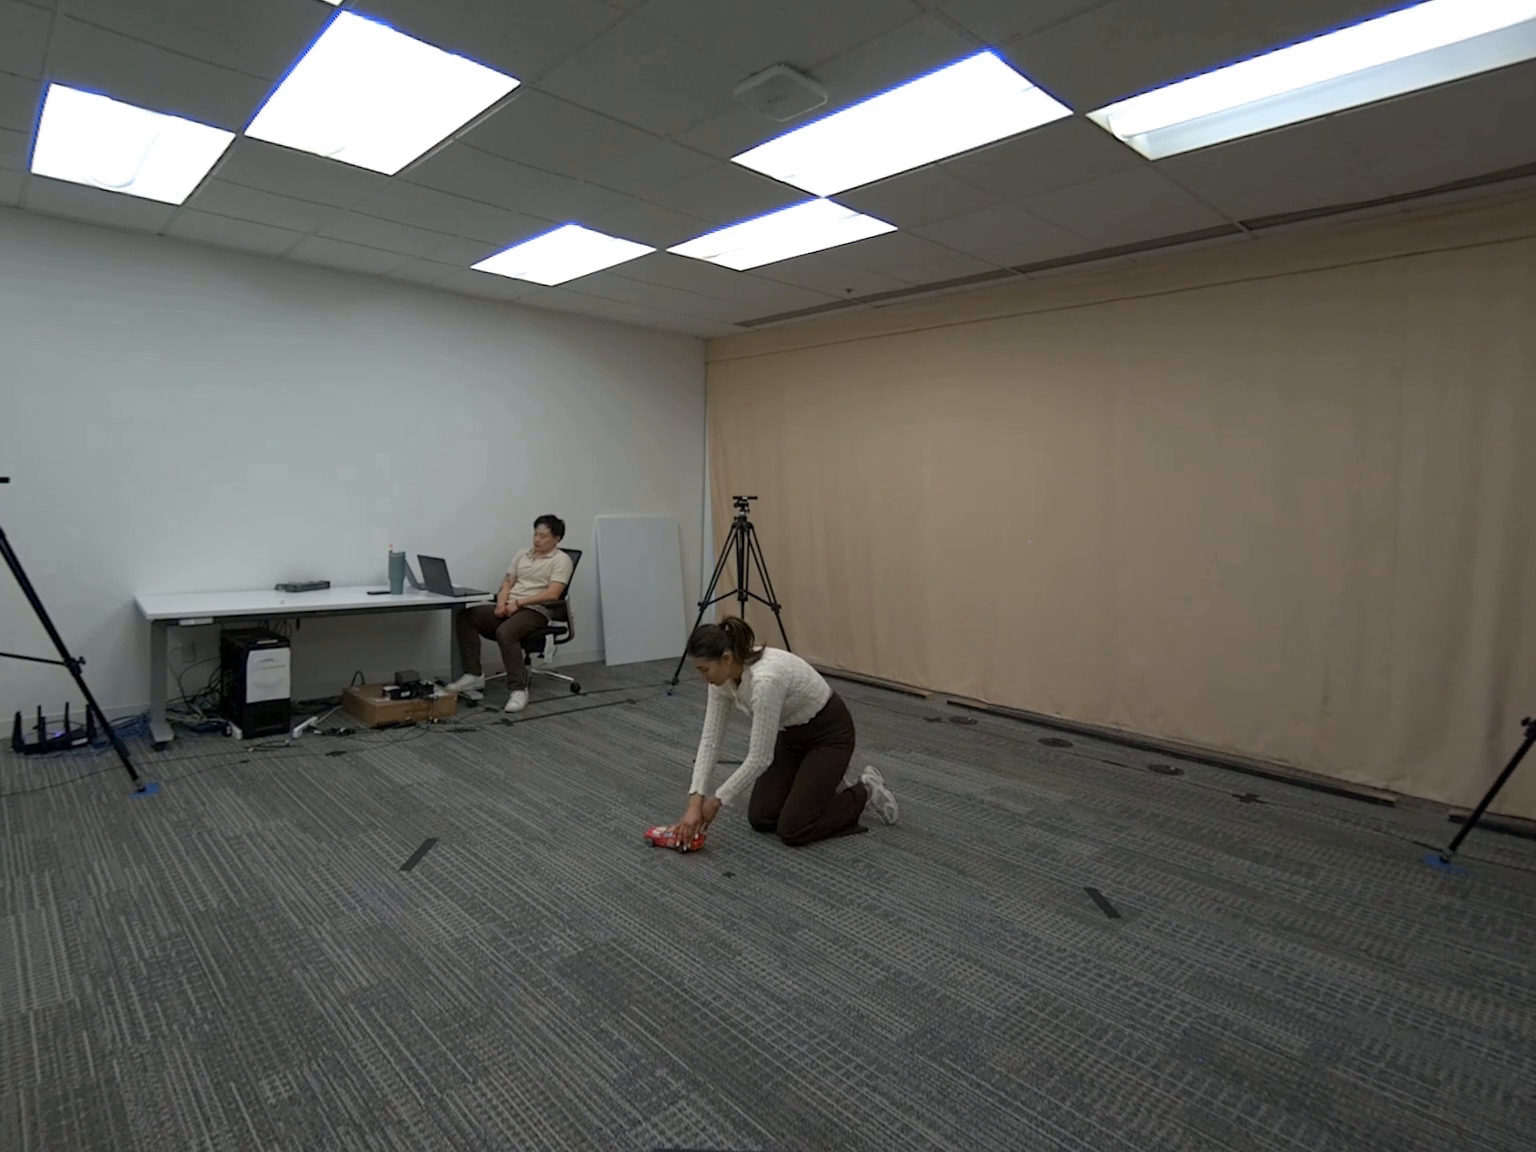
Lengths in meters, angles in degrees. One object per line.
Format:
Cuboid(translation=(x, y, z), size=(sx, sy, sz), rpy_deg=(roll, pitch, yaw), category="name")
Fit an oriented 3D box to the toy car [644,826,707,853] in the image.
Cuboid(translation=(-0.370, 1.045, 3.345), size=(0.258, 0.083, 0.128), rpy_deg=(-7, 1, 24), category="toy car")
